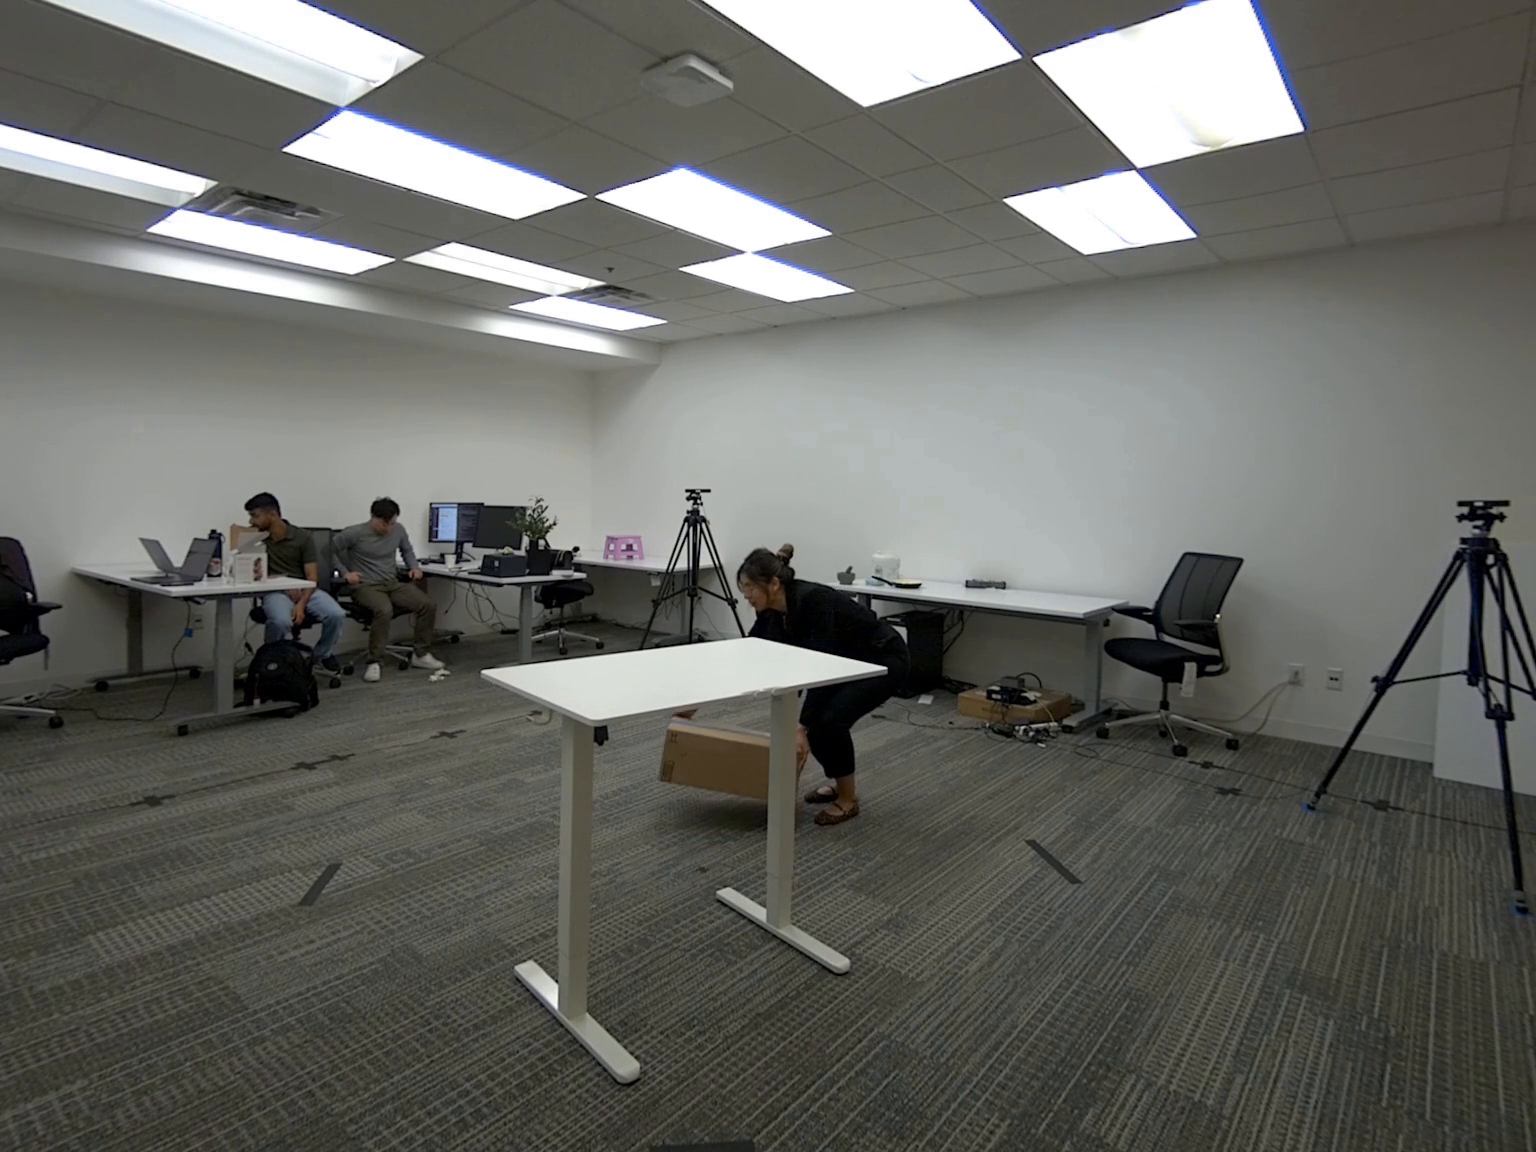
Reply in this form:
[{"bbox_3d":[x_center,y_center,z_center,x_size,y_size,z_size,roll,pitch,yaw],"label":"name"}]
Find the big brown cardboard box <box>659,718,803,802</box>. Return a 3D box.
[{"bbox_3d":[-0.167,0.765,3.644,0.589,0.234,0.416,9,-3,-1],"label":"big brown cardboard box"}]
